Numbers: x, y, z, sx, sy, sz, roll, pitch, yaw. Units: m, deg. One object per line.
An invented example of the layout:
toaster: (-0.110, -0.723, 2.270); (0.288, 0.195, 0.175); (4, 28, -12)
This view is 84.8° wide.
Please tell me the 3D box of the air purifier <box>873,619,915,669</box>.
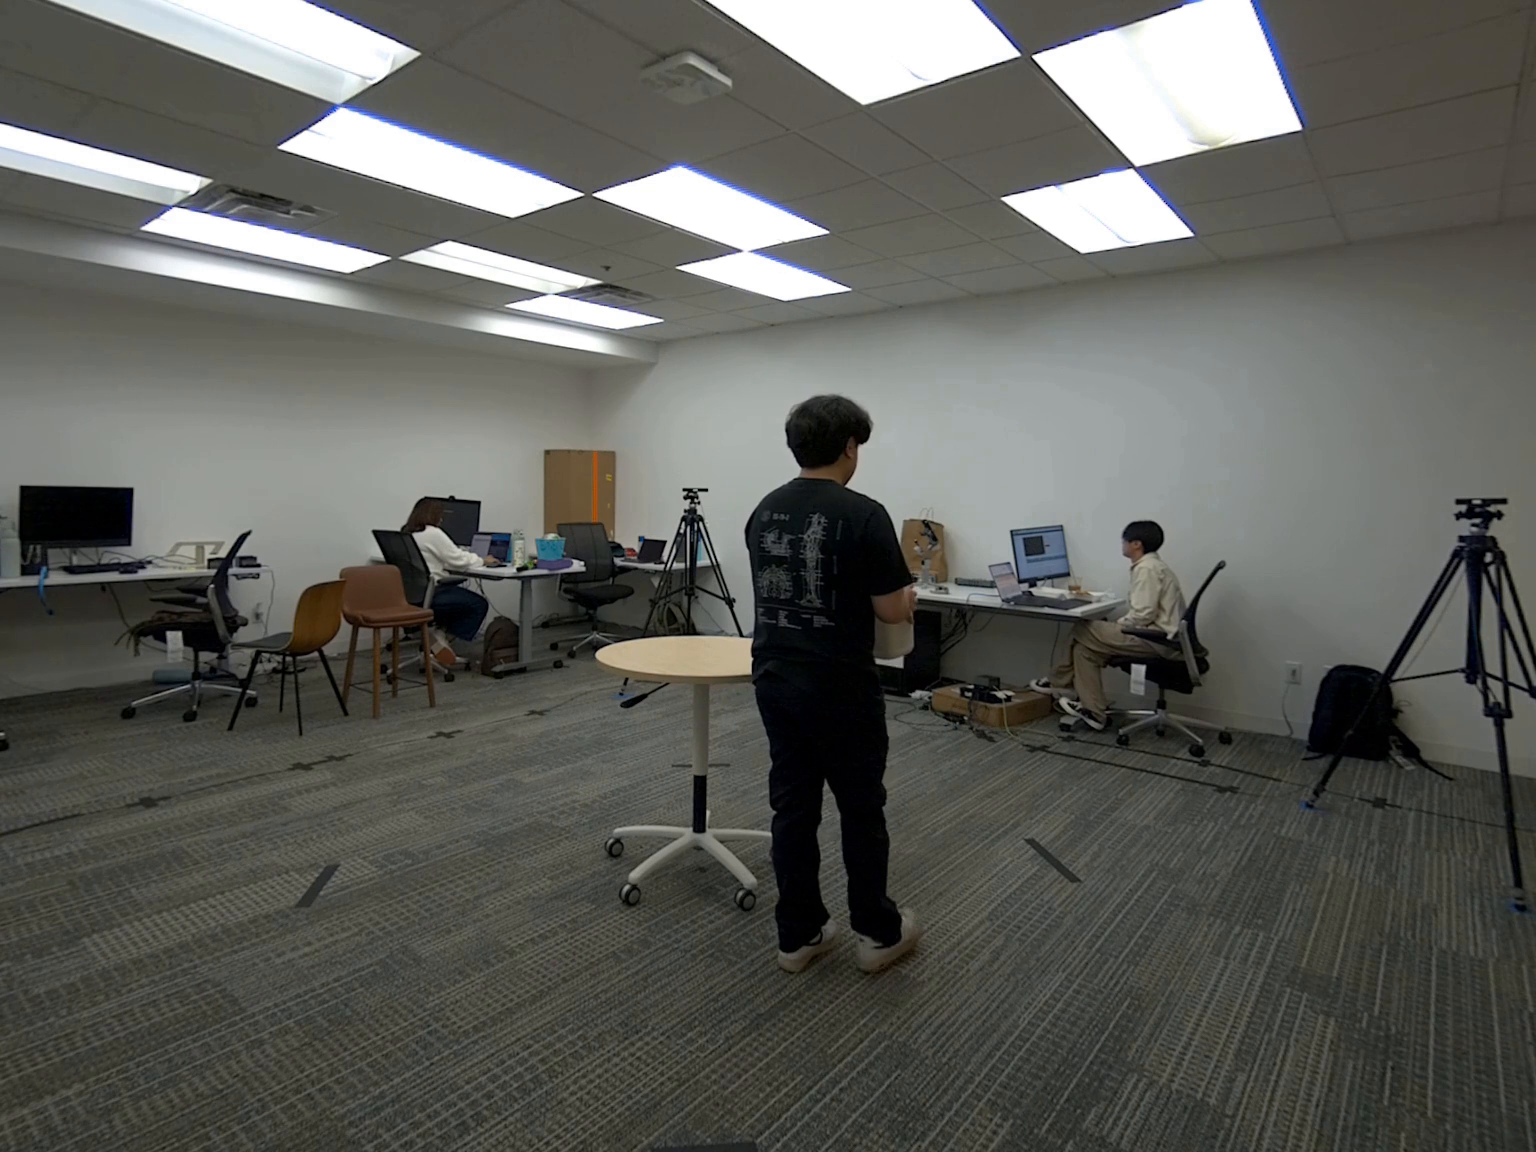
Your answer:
air purifier: (0.366, 0.124, 2.751); (0.177, 0.263, 0.168); (4, 13, 39)
